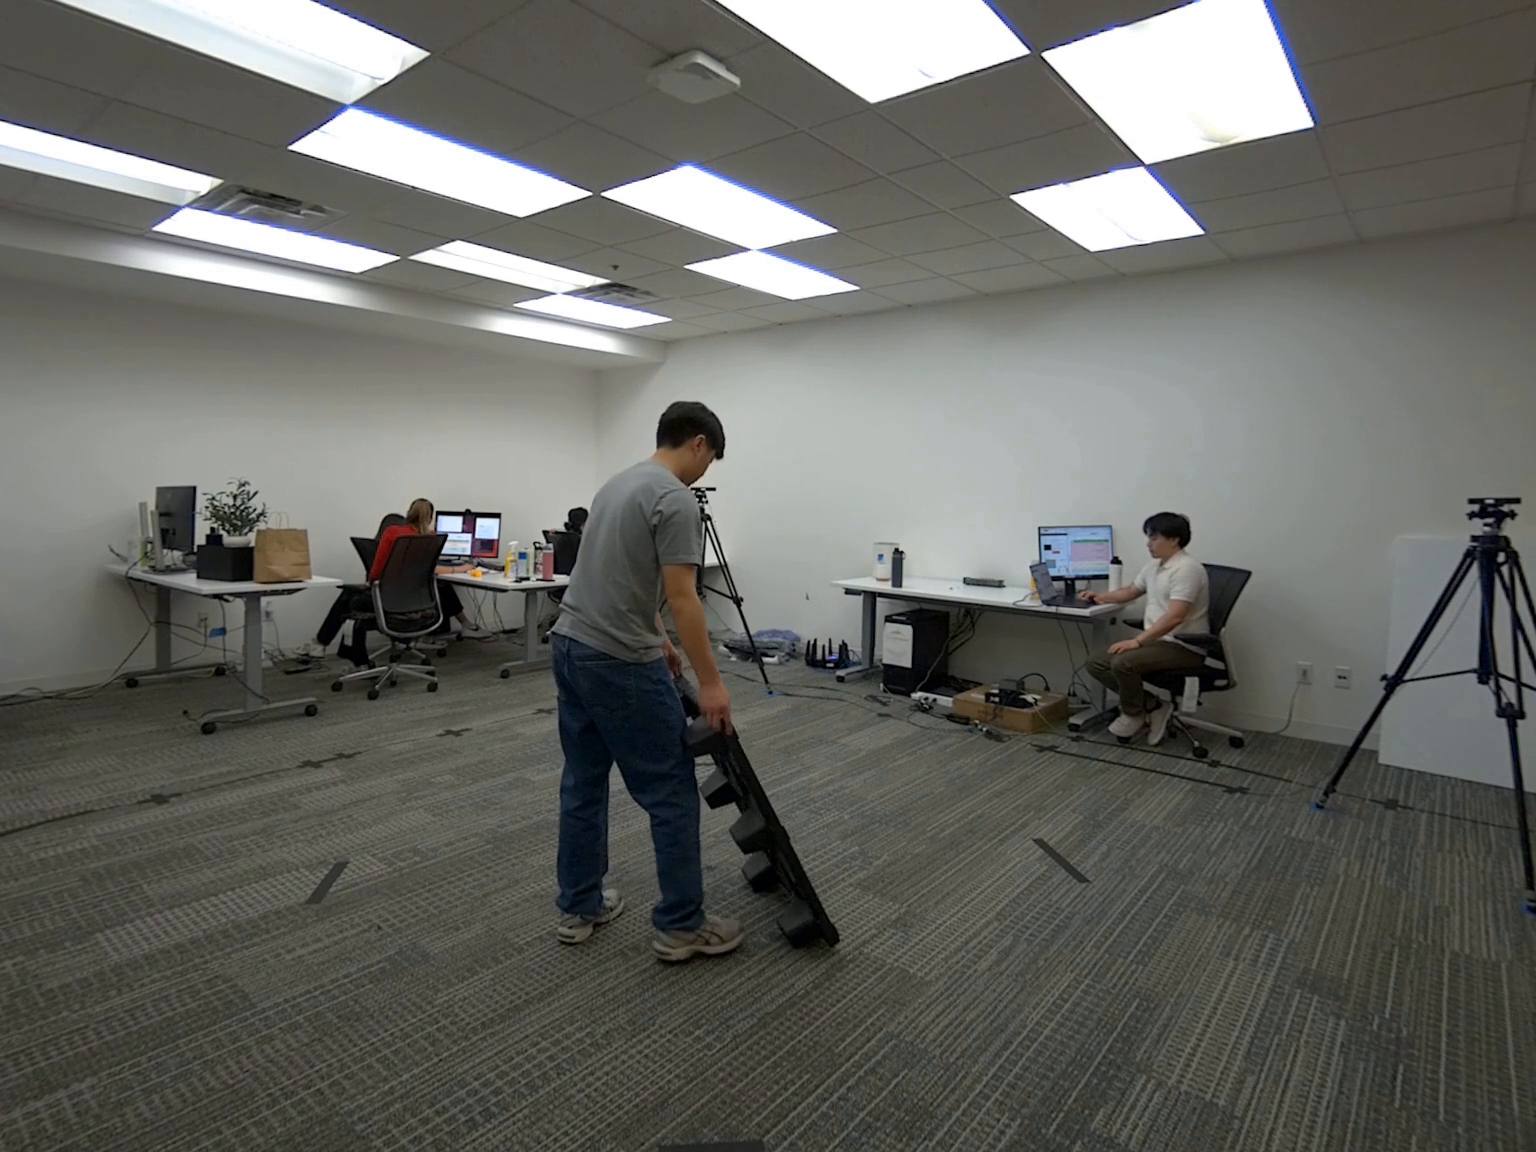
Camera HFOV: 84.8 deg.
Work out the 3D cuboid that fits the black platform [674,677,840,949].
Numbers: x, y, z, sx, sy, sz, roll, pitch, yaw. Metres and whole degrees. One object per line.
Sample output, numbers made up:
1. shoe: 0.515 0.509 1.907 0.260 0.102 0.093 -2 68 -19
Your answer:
1. black platform: -0.098 0.754 2.749 0.142 0.796 0.617 -28 10 -14
